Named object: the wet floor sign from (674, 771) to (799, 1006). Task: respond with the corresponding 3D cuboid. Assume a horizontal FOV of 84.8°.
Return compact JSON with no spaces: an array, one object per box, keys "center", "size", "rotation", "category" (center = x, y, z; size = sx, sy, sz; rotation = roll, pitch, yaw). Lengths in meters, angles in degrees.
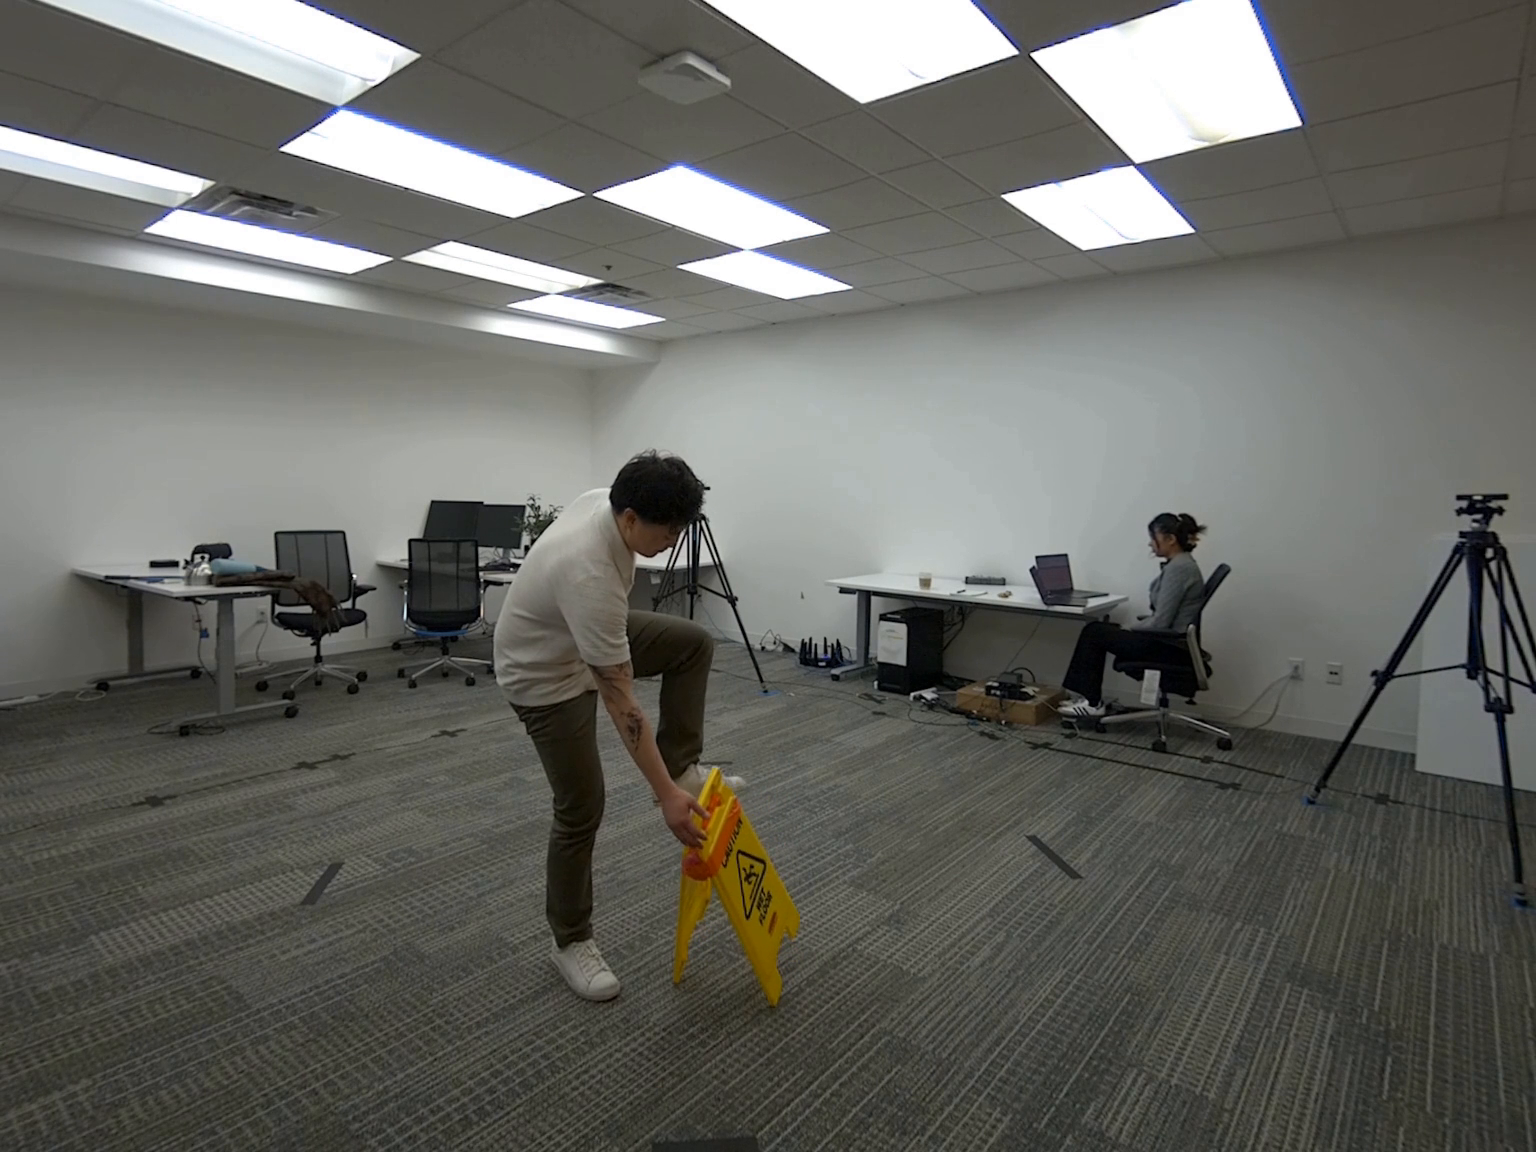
[{"center":[-0.125,0.805,2.287],"size":[0.295,0.627,0.285],"rotation":[2,33,17],"category":"wet floor sign"}]
